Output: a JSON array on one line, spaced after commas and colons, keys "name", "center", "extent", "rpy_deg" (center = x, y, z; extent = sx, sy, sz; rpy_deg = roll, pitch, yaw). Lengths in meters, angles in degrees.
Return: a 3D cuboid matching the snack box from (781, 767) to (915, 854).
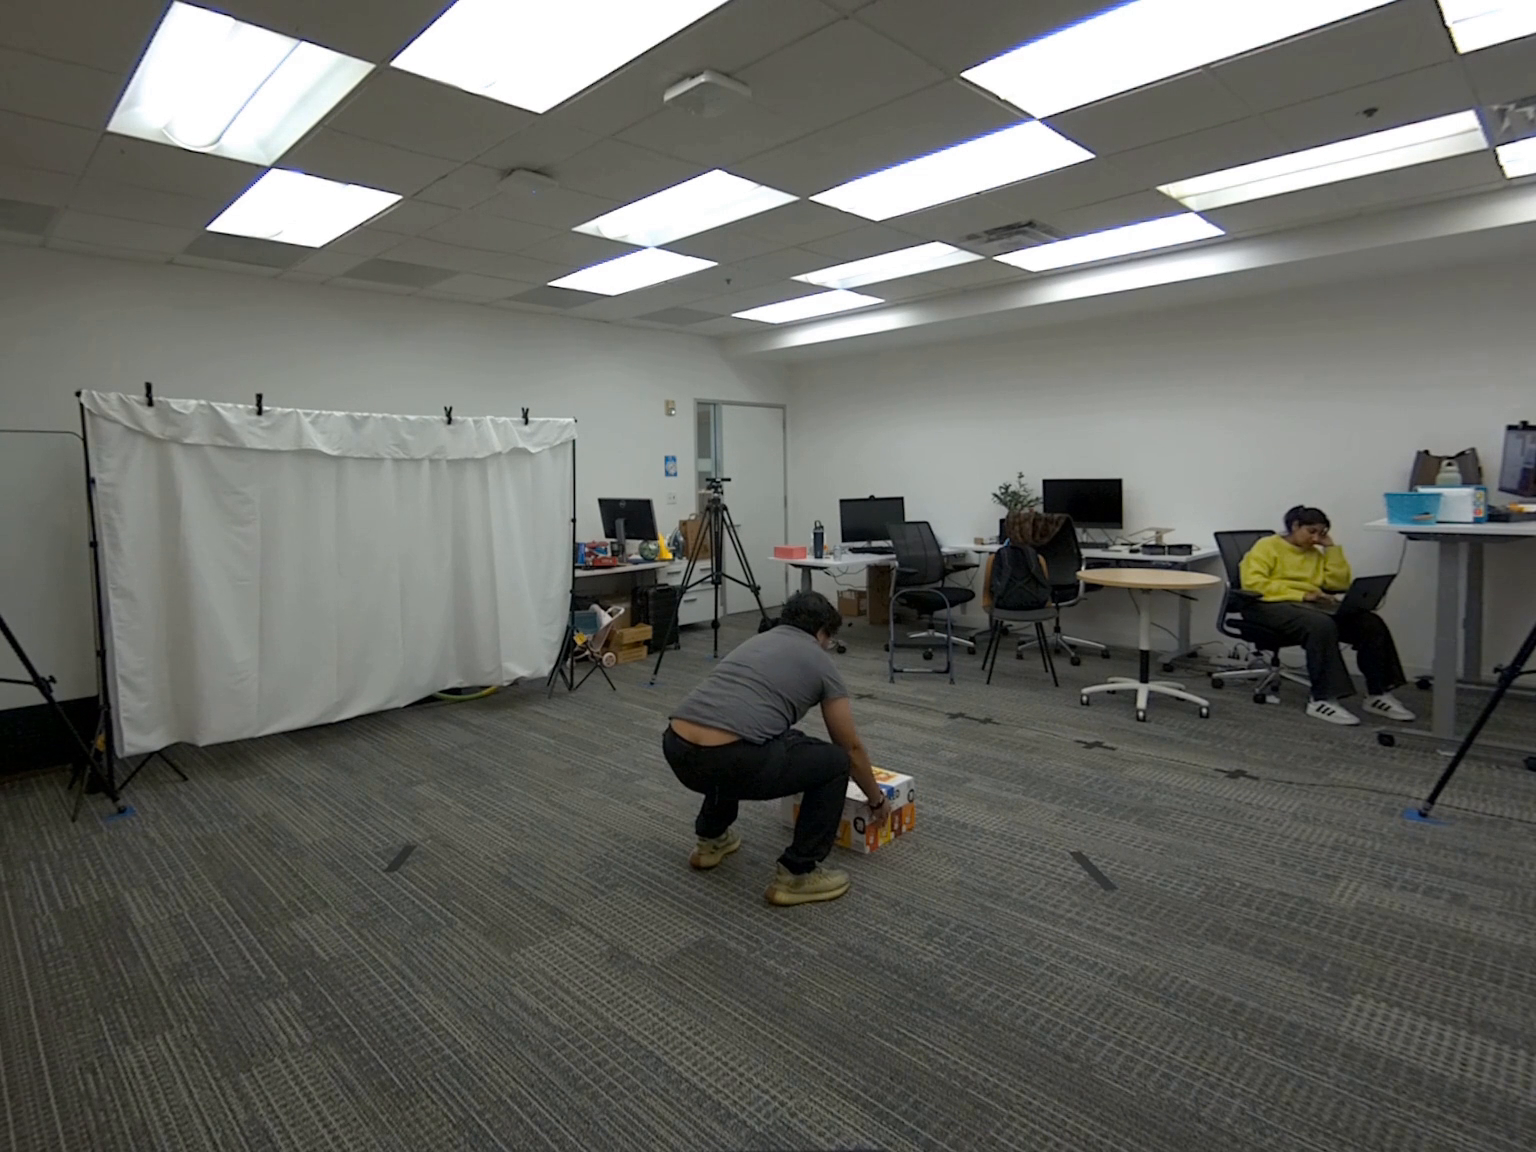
[{"name": "snack box", "center": [0.321, 0.902, 3.409], "extent": [0.417, 0.205, 0.331], "rpy_deg": [4, 7, 42]}]
